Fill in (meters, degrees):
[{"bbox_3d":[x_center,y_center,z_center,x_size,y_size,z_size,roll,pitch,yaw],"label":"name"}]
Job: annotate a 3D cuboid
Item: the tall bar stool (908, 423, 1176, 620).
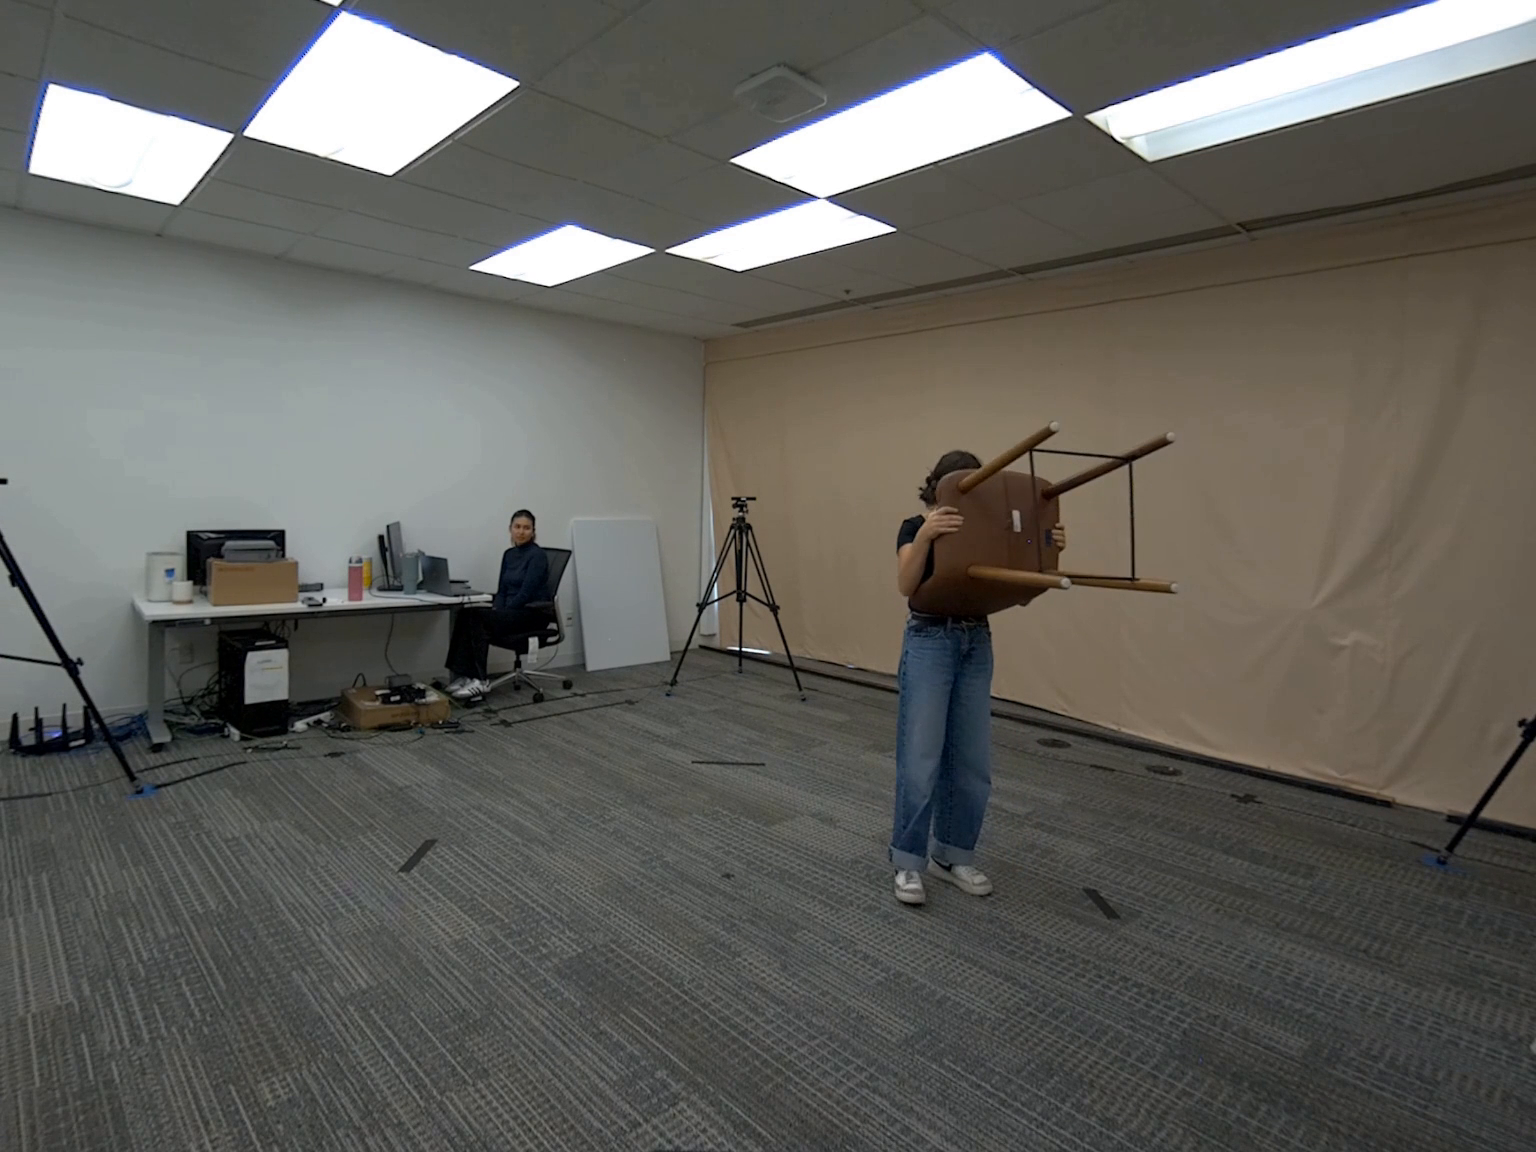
[{"bbox_3d":[0.817,-0.136,2.694,0.450,0.471,0.896,2,-9,-18],"label":"tall bar stool"}]
